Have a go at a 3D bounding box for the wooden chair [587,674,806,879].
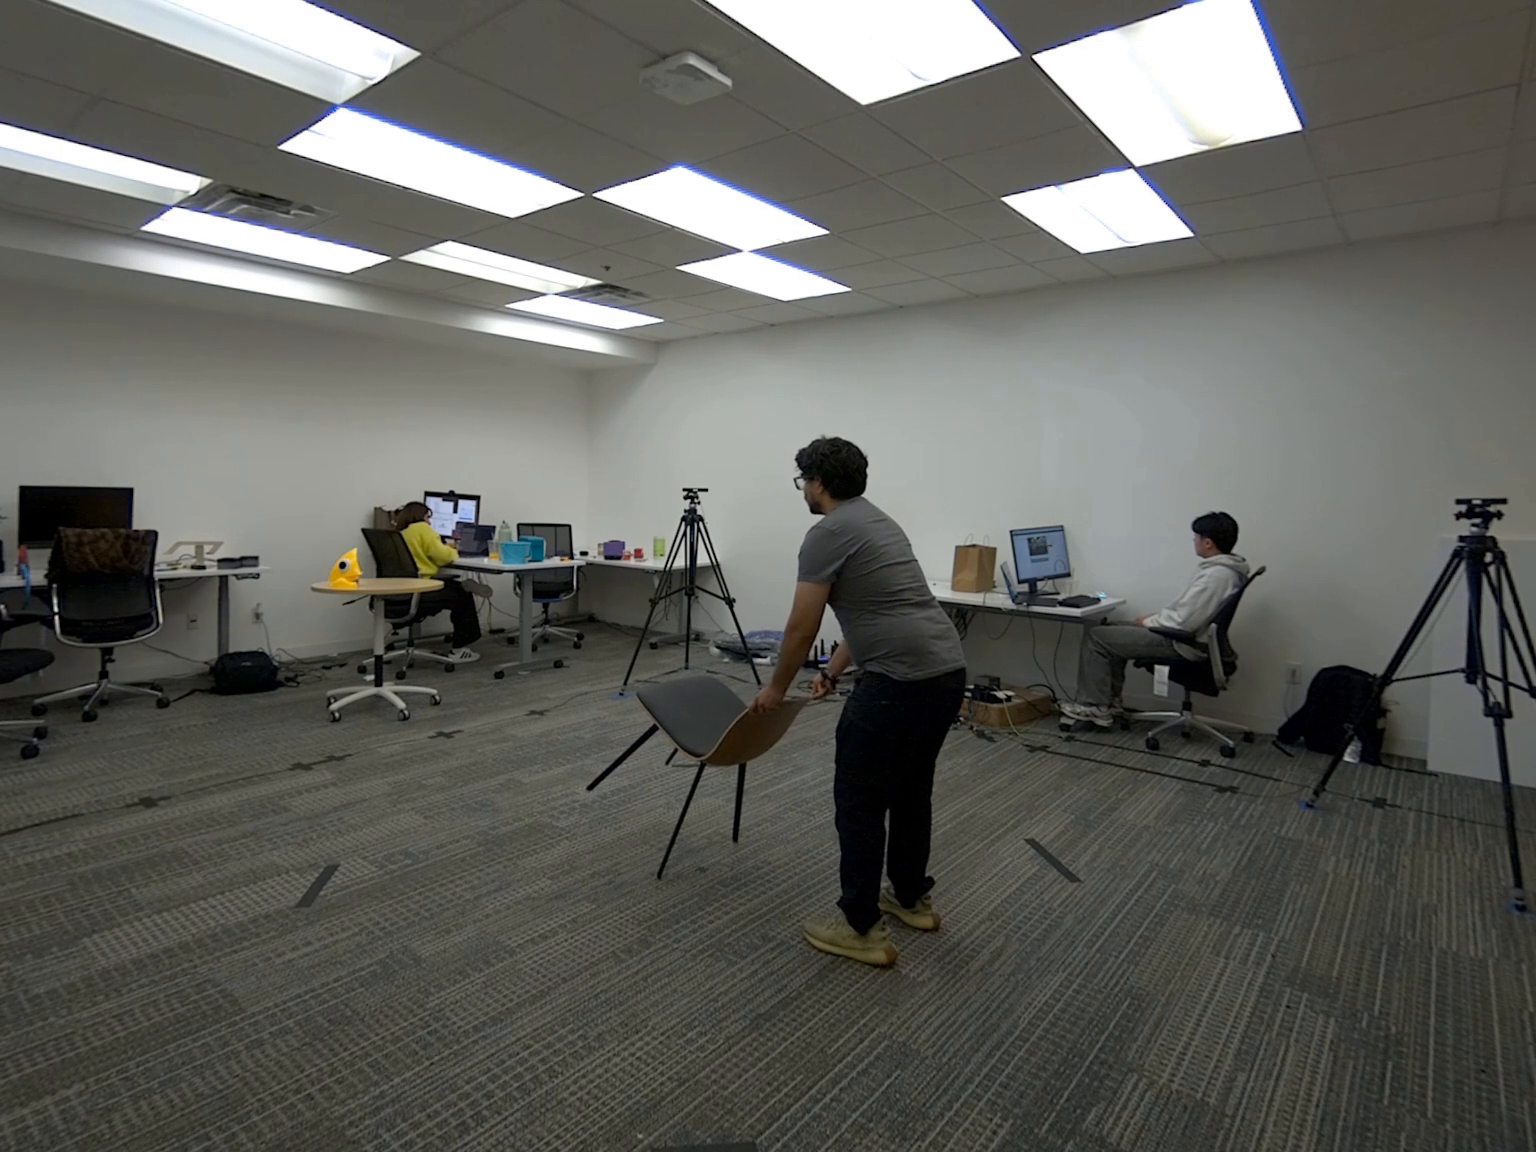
[{"bbox_3d":[-0.239,0.577,3.157,0.542,0.872,0.464,45,27,28],"label":"wooden chair"}]
